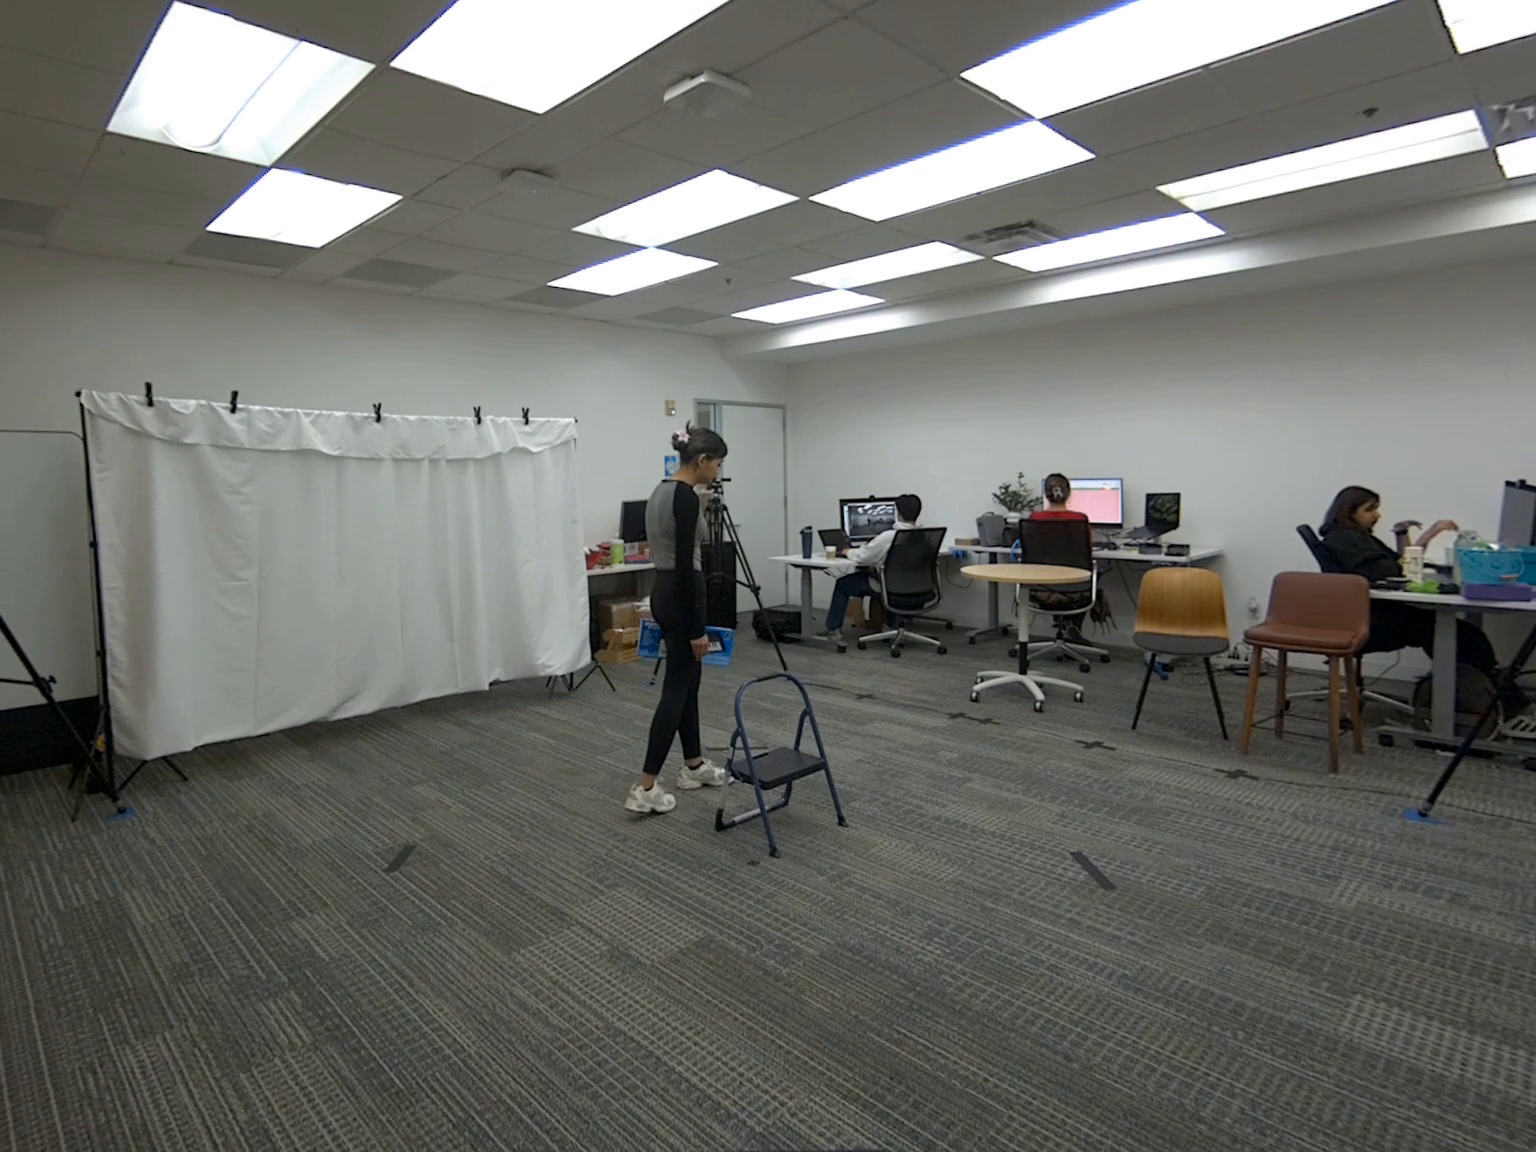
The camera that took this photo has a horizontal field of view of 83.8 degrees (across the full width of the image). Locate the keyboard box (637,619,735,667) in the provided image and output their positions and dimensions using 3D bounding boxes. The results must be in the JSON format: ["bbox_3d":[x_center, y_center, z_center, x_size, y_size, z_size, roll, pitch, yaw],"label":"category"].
[{"bbox_3d":[-0.390,0.313,4.018,0.431,0.176,0.060,7,0,-12],"label":"keyboard box"}]
